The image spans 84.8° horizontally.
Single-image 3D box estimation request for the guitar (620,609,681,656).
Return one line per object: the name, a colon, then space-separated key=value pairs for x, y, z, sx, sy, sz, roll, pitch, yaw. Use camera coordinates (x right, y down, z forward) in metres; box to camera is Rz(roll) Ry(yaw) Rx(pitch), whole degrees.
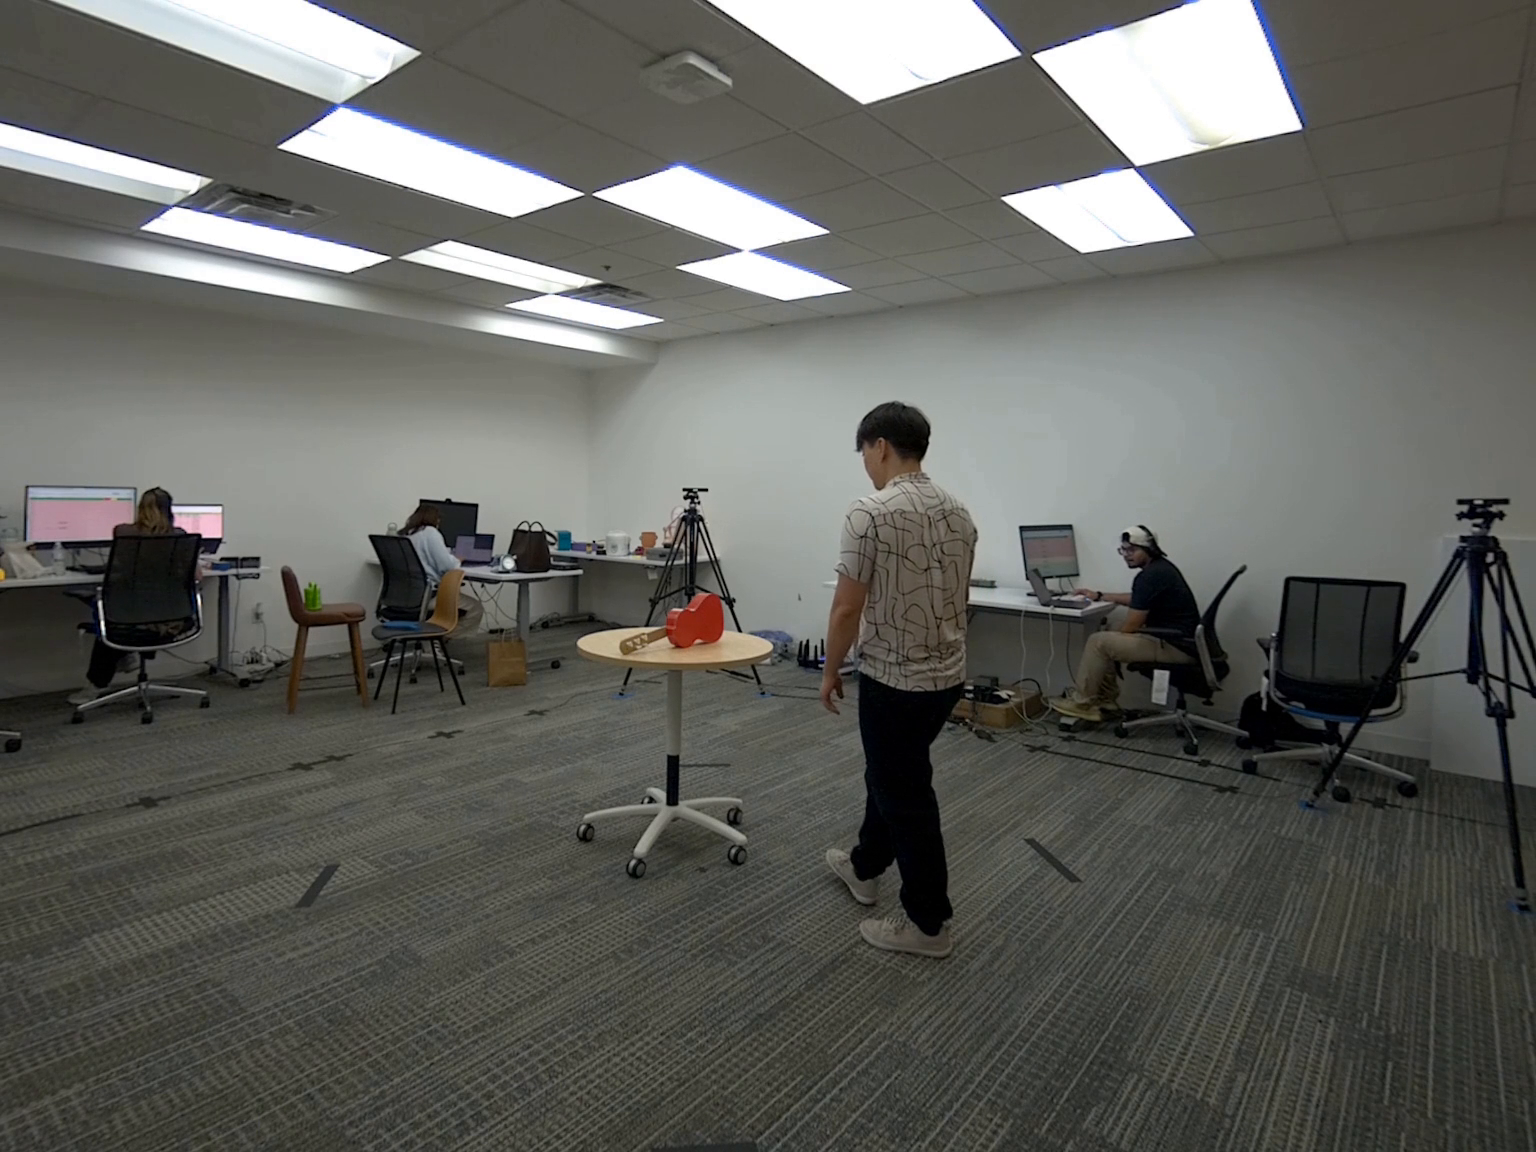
guitar: x=-0.359 y=0.231 z=3.237 sx=0.073 sy=0.189 sz=0.491 roll=3 pitch=24 yaw=40
